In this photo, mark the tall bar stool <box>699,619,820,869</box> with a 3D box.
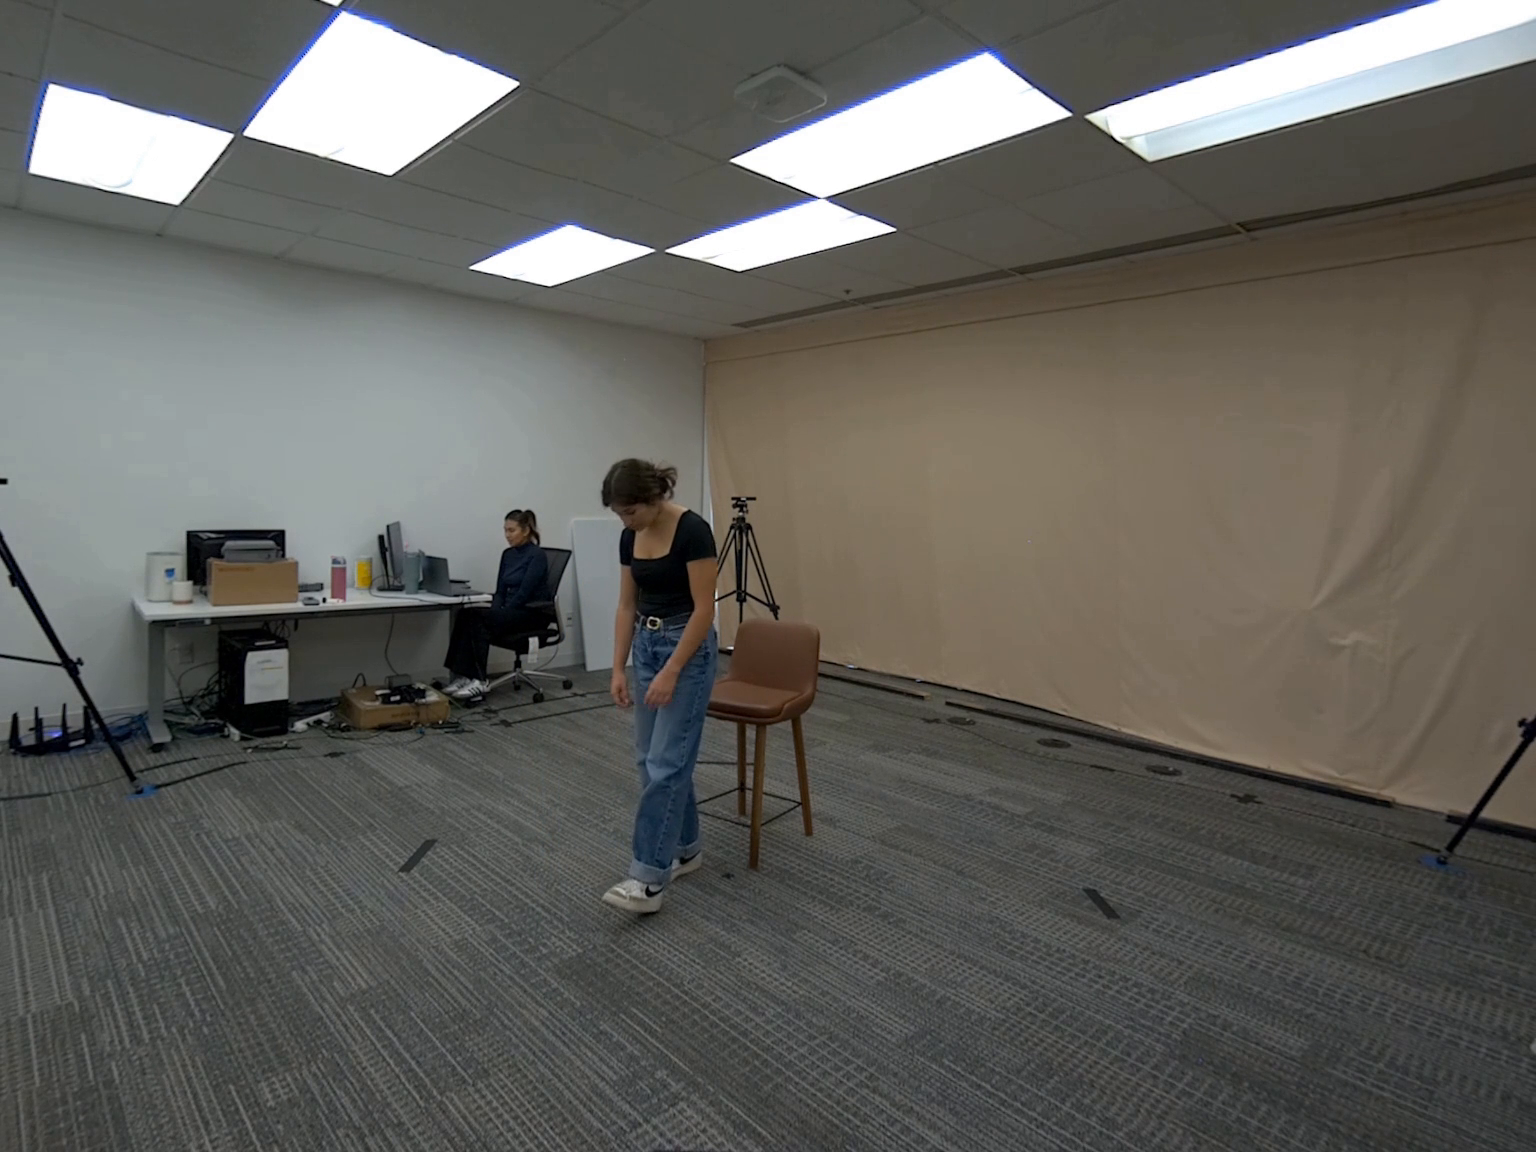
[{"bbox_3d":[-0.080,0.646,3.431,0.467,0.889,0.457,4,2,36],"label":"tall bar stool"}]
